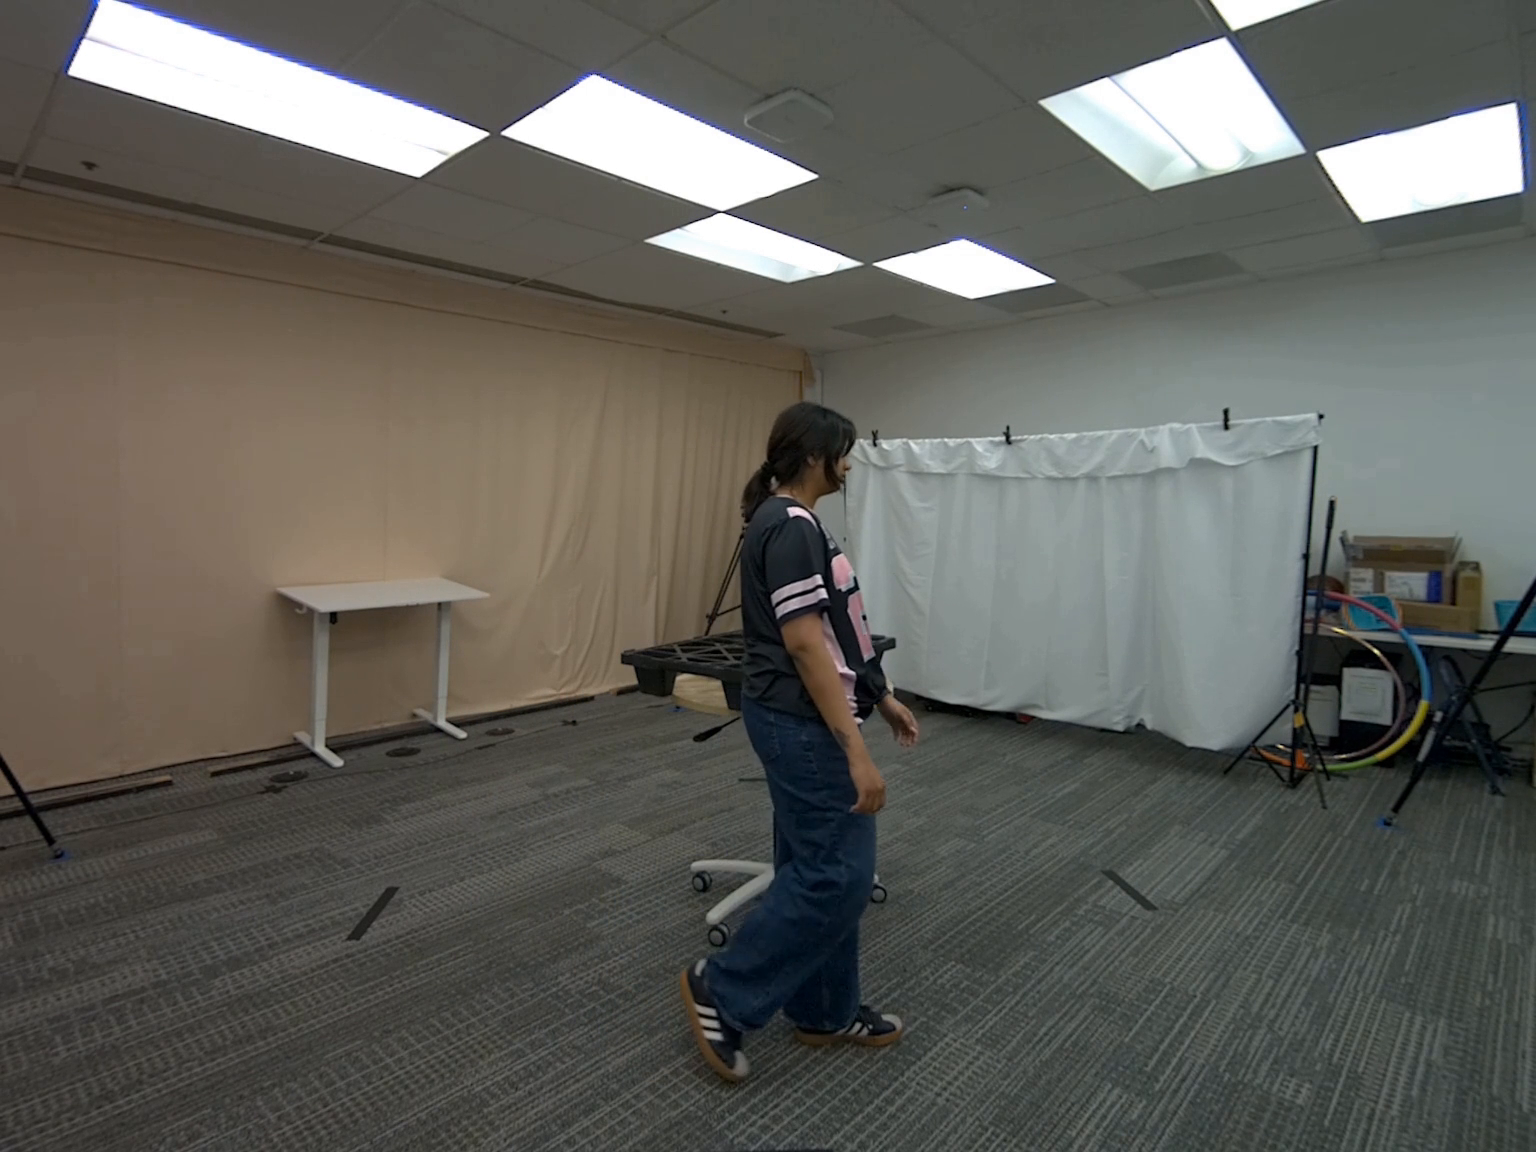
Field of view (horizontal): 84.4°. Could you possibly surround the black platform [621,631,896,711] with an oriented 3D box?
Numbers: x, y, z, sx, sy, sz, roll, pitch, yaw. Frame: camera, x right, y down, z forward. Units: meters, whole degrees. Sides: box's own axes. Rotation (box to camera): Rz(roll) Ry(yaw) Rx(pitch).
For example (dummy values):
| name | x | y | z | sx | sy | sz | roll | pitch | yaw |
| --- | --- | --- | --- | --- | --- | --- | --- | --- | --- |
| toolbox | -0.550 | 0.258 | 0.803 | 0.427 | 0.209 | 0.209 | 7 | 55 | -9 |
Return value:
| name | x | y | z | sx | sy | sz | roll | pitch | yaw |
| --- | --- | --- | --- | --- | --- | --- | --- | --- | --- |
| black platform | -0.022 | 0.307 | 2.875 | 0.625 | 0.143 | 0.782 | 3 | 6 | 39 |
